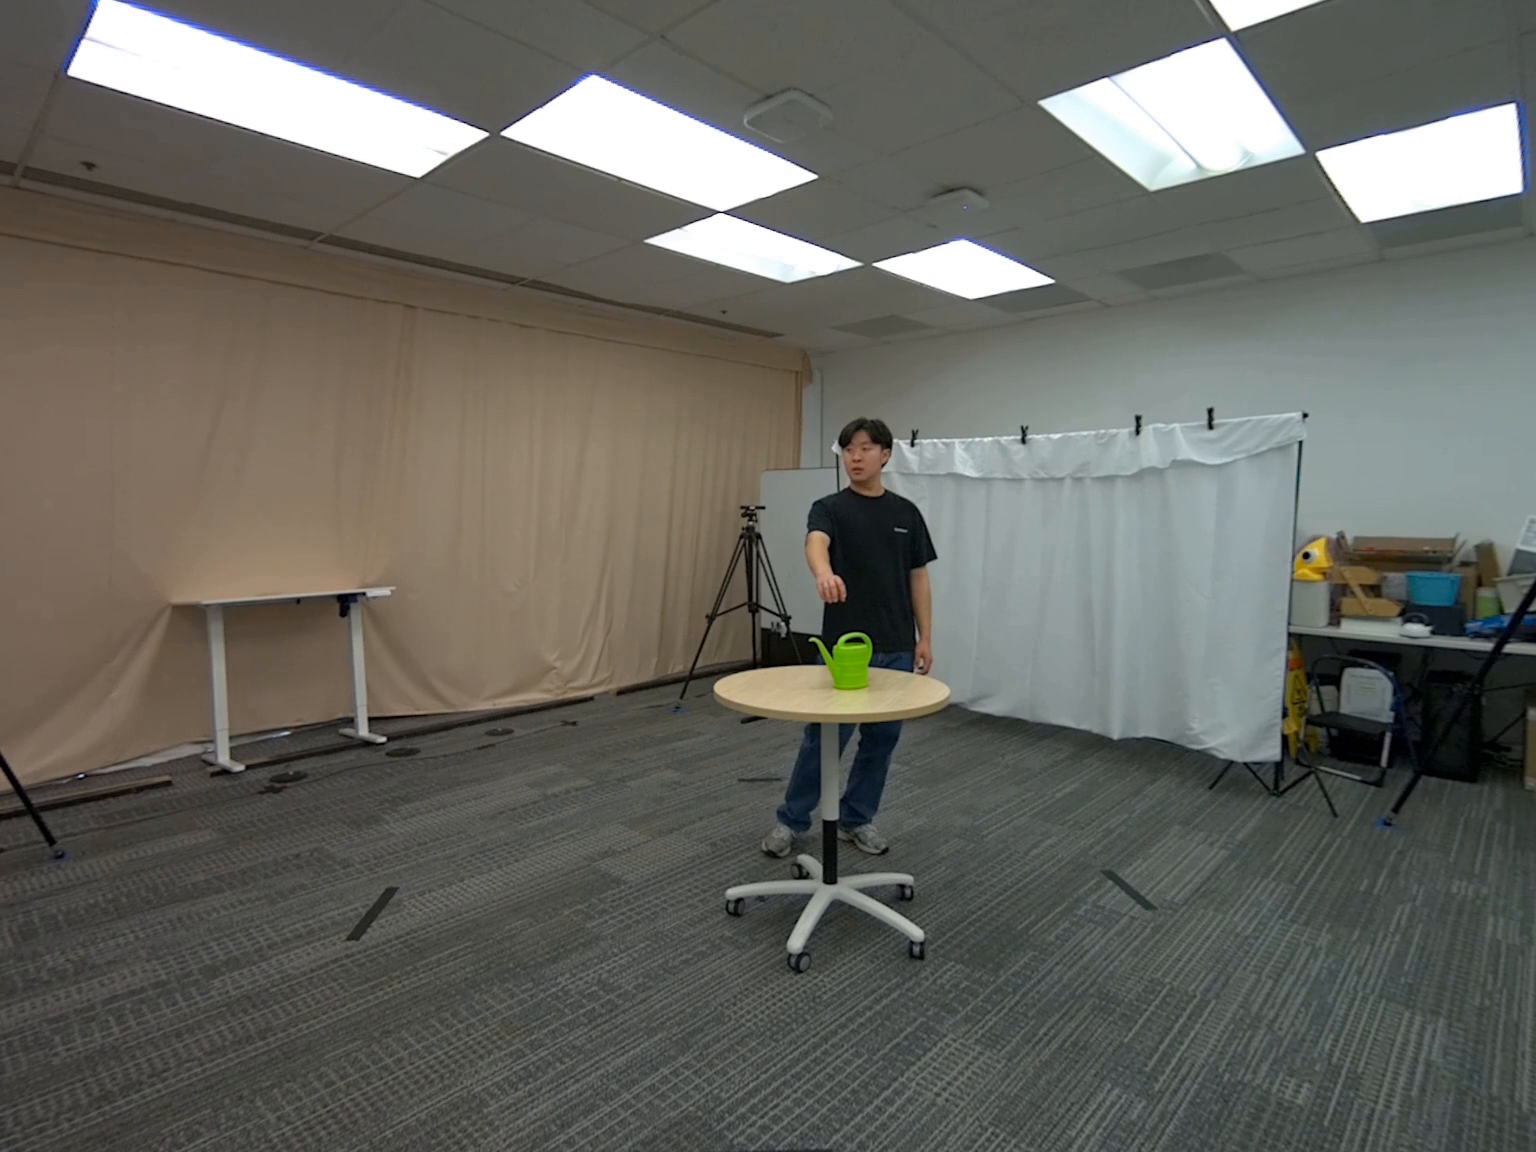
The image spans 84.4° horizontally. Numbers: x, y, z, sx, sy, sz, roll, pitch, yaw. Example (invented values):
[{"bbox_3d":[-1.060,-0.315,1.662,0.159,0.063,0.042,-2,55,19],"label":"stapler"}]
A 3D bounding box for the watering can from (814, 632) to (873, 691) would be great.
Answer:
[{"bbox_3d":[0.239,0.281,2.737,0.271,0.177,0.100,-1,0,-27],"label":"watering can"}]
